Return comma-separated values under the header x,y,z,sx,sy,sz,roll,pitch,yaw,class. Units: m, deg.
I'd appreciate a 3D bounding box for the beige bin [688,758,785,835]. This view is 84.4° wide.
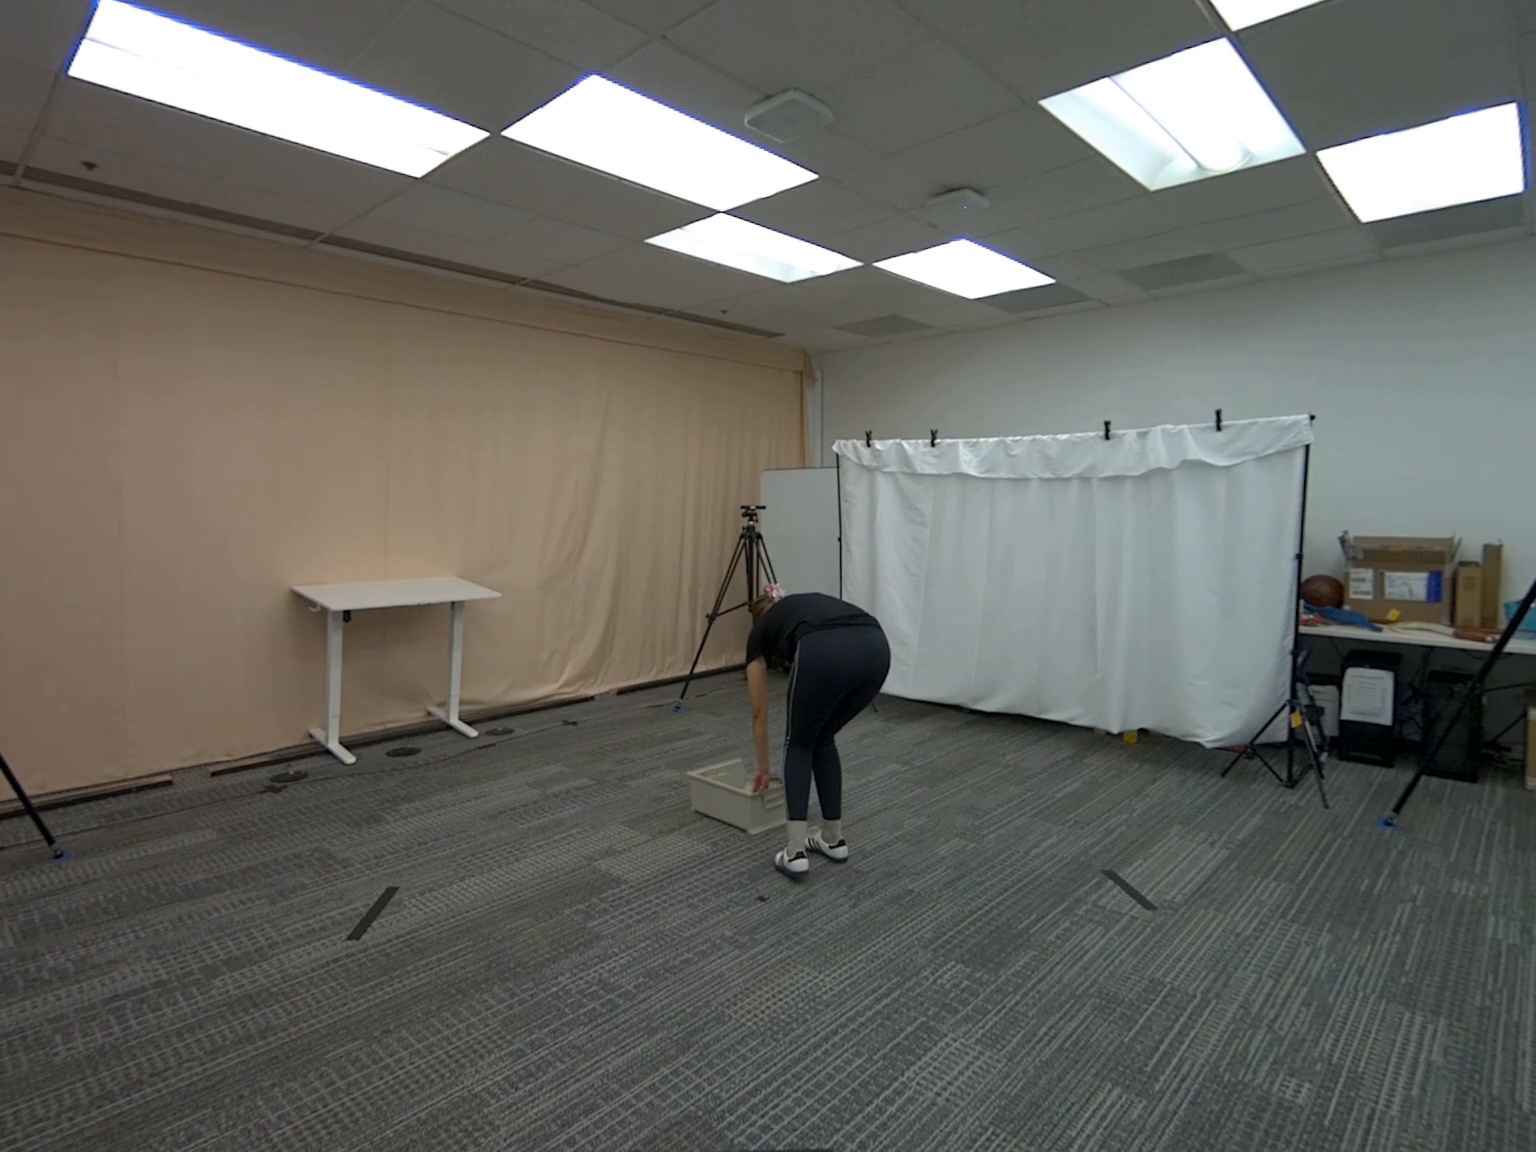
x,y,z,sx,sy,sz,roll,pitch,yaw,class
-0.089,0.985,3.822,0.366,0.188,0.436,-6,7,-44,beige bin
